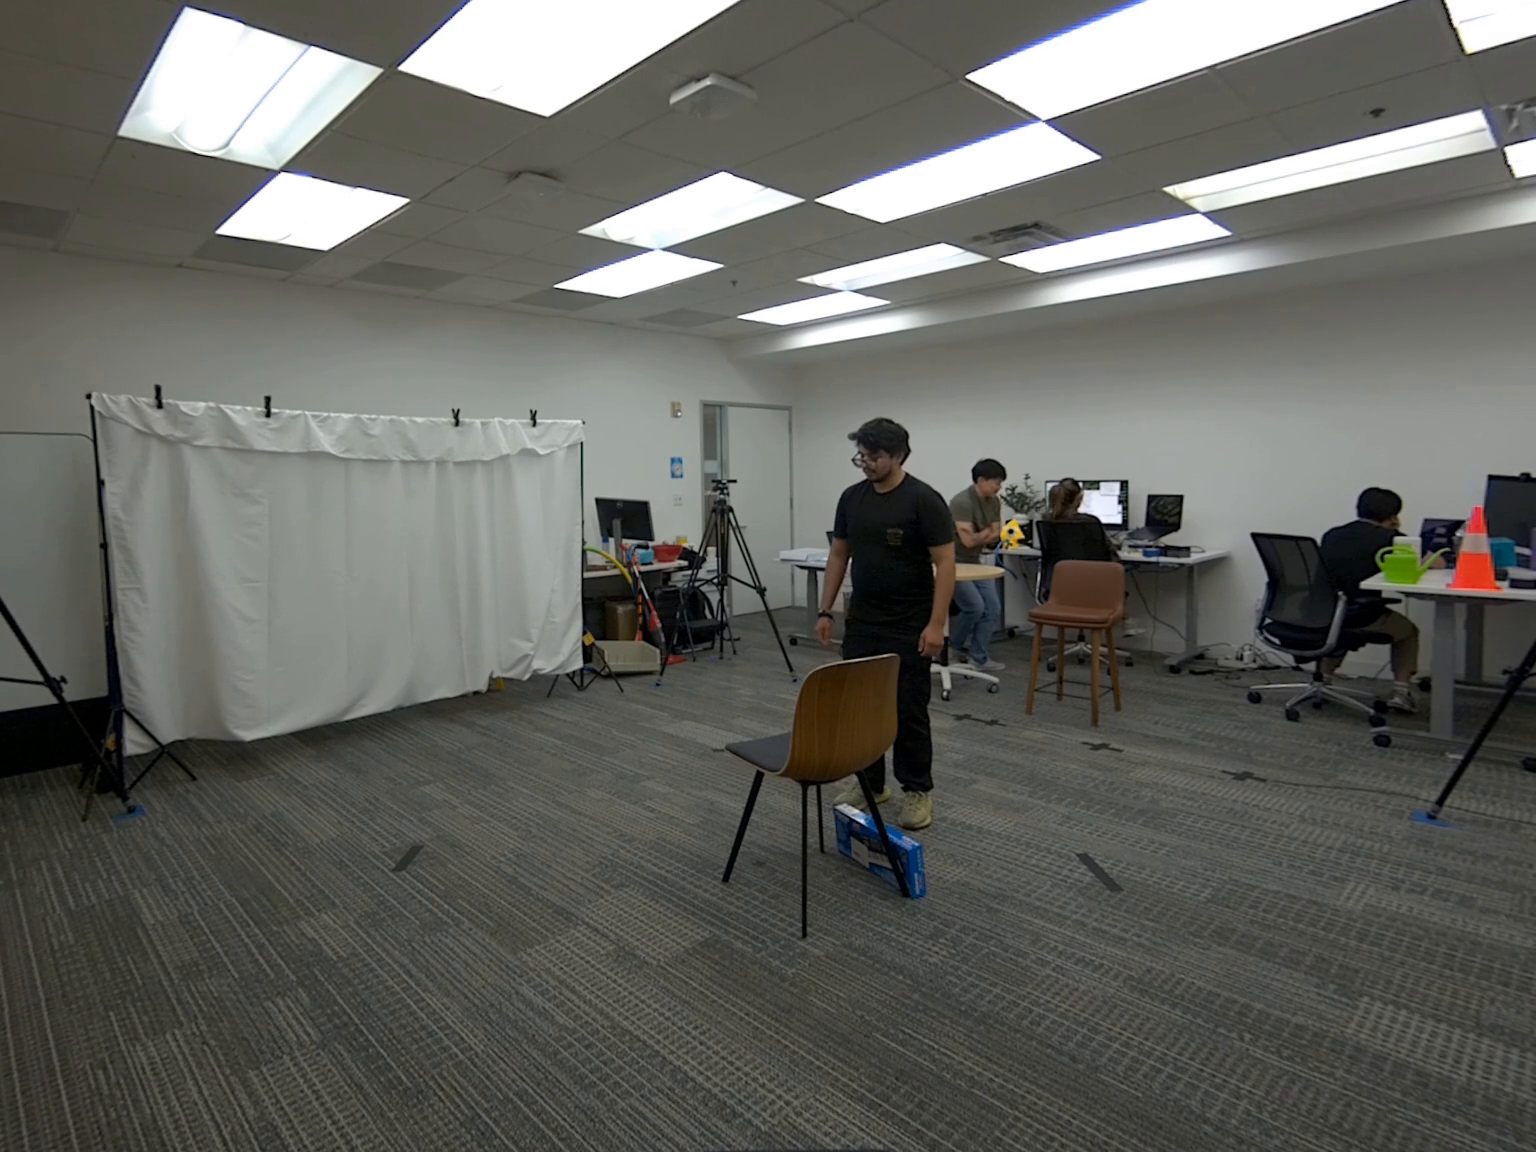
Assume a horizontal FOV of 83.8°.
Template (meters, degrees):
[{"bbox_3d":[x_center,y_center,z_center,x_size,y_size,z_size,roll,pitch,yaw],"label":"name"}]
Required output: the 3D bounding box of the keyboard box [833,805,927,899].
[{"bbox_3d":[0.392,0.967,3.023,0.058,0.175,0.448,-9,9,-28],"label":"keyboard box"}]
